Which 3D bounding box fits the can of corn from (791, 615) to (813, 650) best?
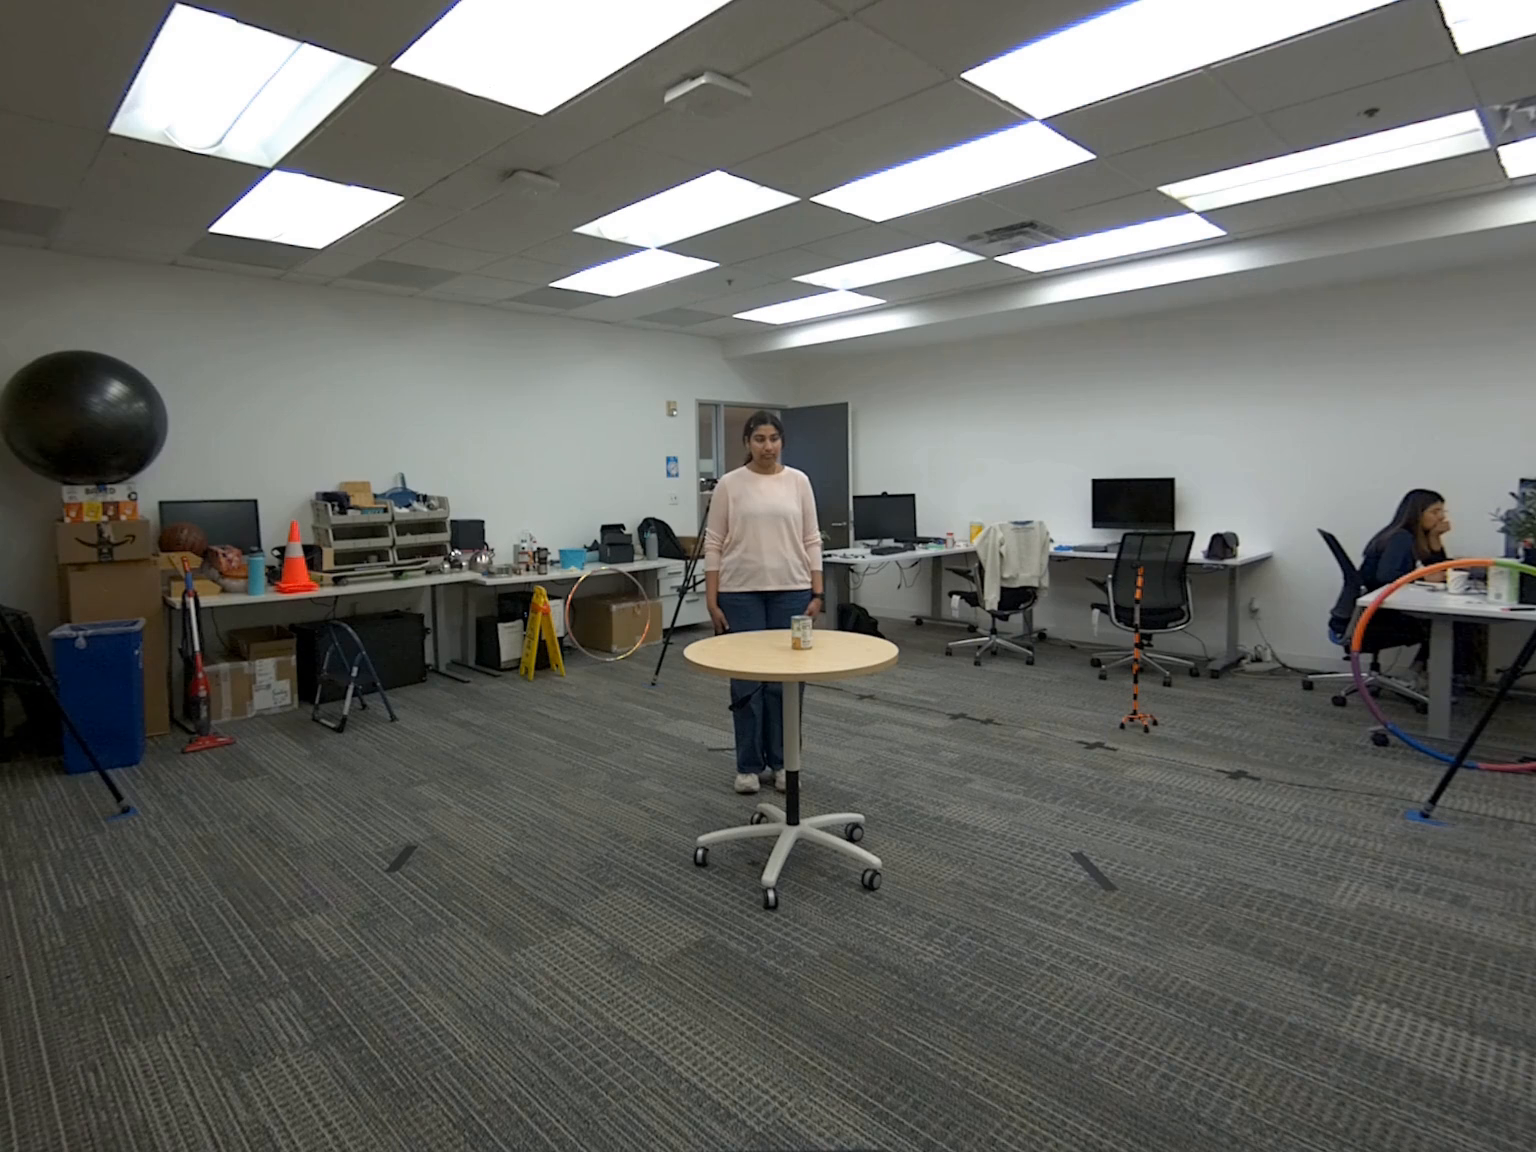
[{"bbox_3d":[0.116,0.204,3.077,0.074,0.110,0.074,-2,4,-2],"label":"can of corn"}]
